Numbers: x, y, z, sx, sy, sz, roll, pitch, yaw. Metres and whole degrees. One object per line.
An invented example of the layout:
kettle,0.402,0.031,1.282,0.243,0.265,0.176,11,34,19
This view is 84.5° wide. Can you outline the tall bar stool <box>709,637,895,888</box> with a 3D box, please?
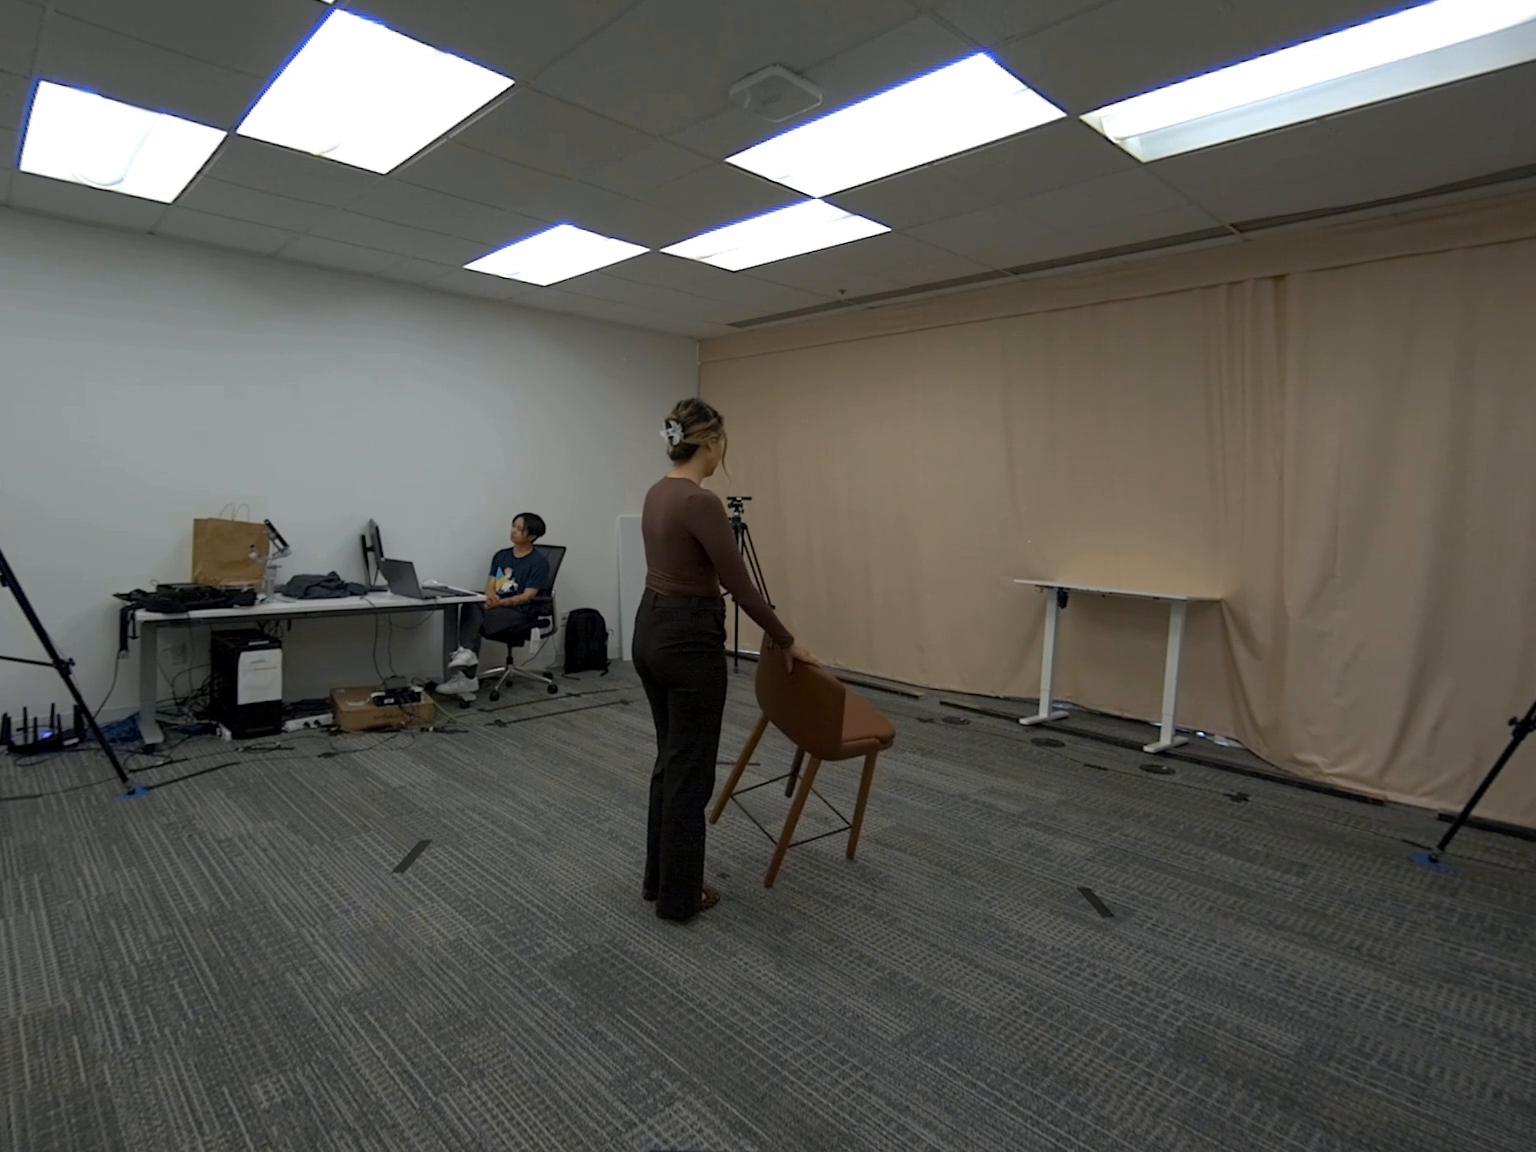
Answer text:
tall bar stool,0.147,0.634,3.130,0.457,0.880,0.471,-5,28,-41
